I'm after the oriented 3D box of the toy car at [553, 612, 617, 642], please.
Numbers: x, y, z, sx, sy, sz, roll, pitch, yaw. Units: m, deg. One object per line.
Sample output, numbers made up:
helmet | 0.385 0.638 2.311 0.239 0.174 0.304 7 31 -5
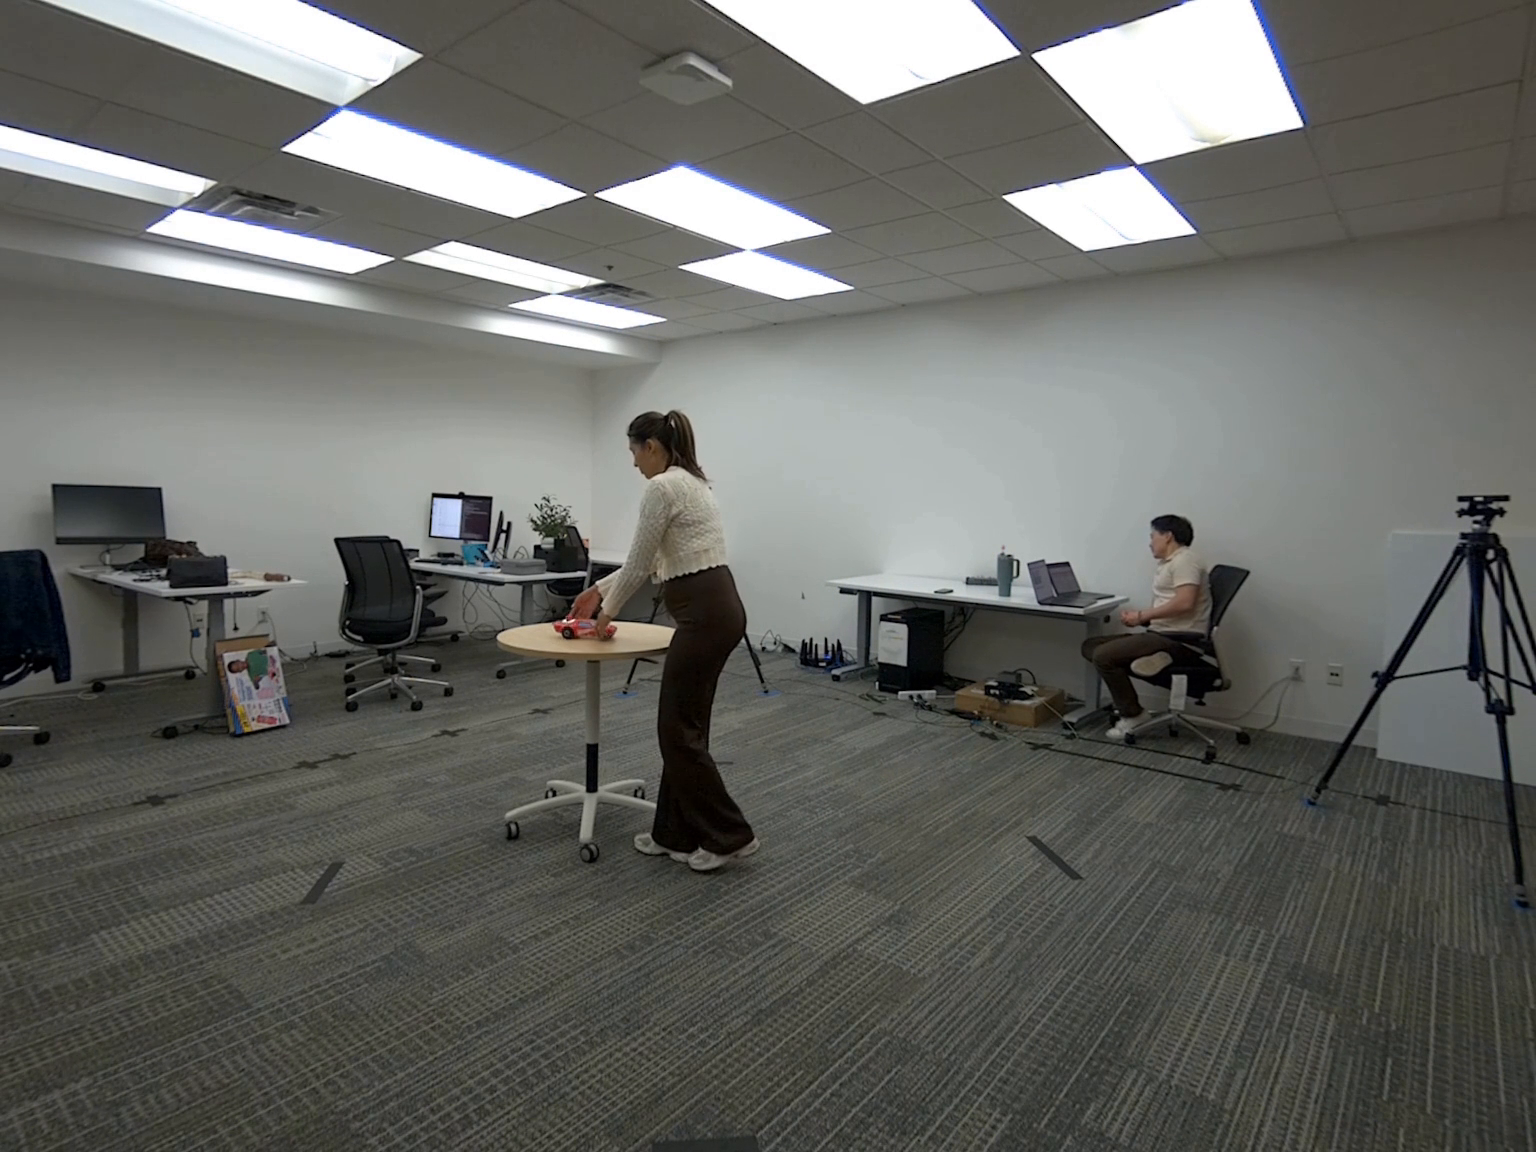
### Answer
toy car | -0.758 0.214 3.405 0.257 0.083 0.129 13 6 7
